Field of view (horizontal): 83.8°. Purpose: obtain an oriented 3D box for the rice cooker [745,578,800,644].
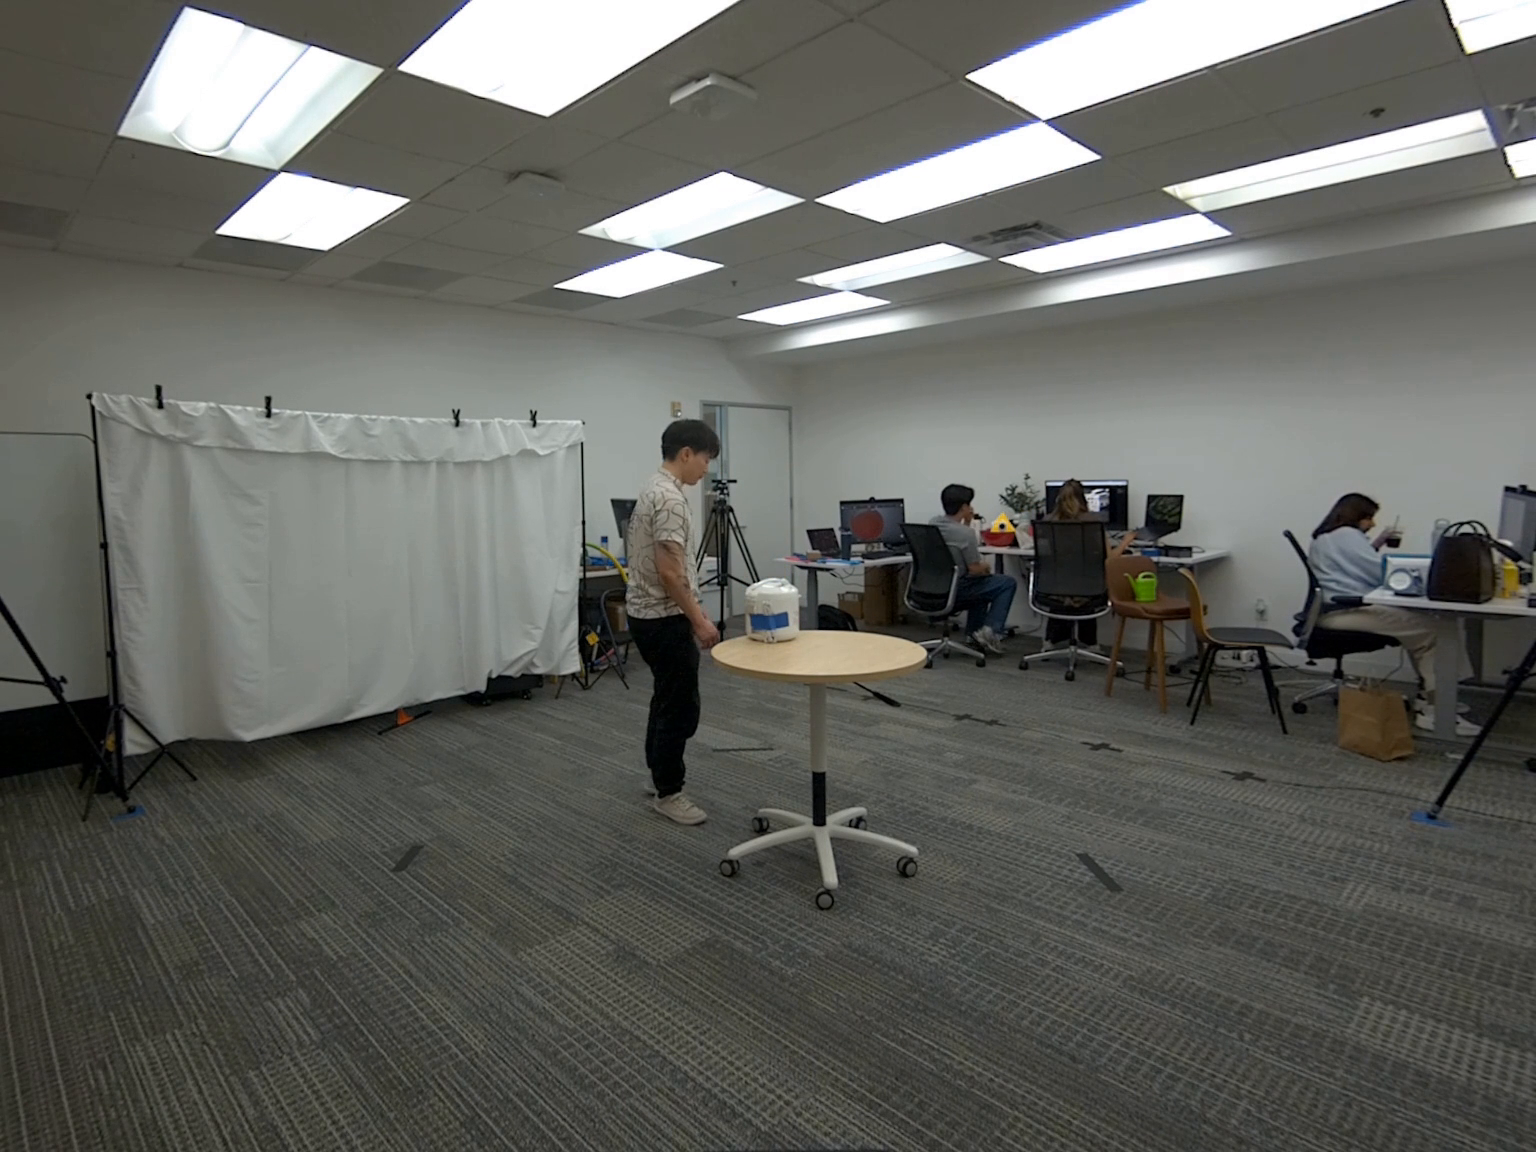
[{"bbox_3d":[0.015,0.122,3.292,0.215,0.232,0.224,-5,7,-36],"label":"rice cooker"}]
